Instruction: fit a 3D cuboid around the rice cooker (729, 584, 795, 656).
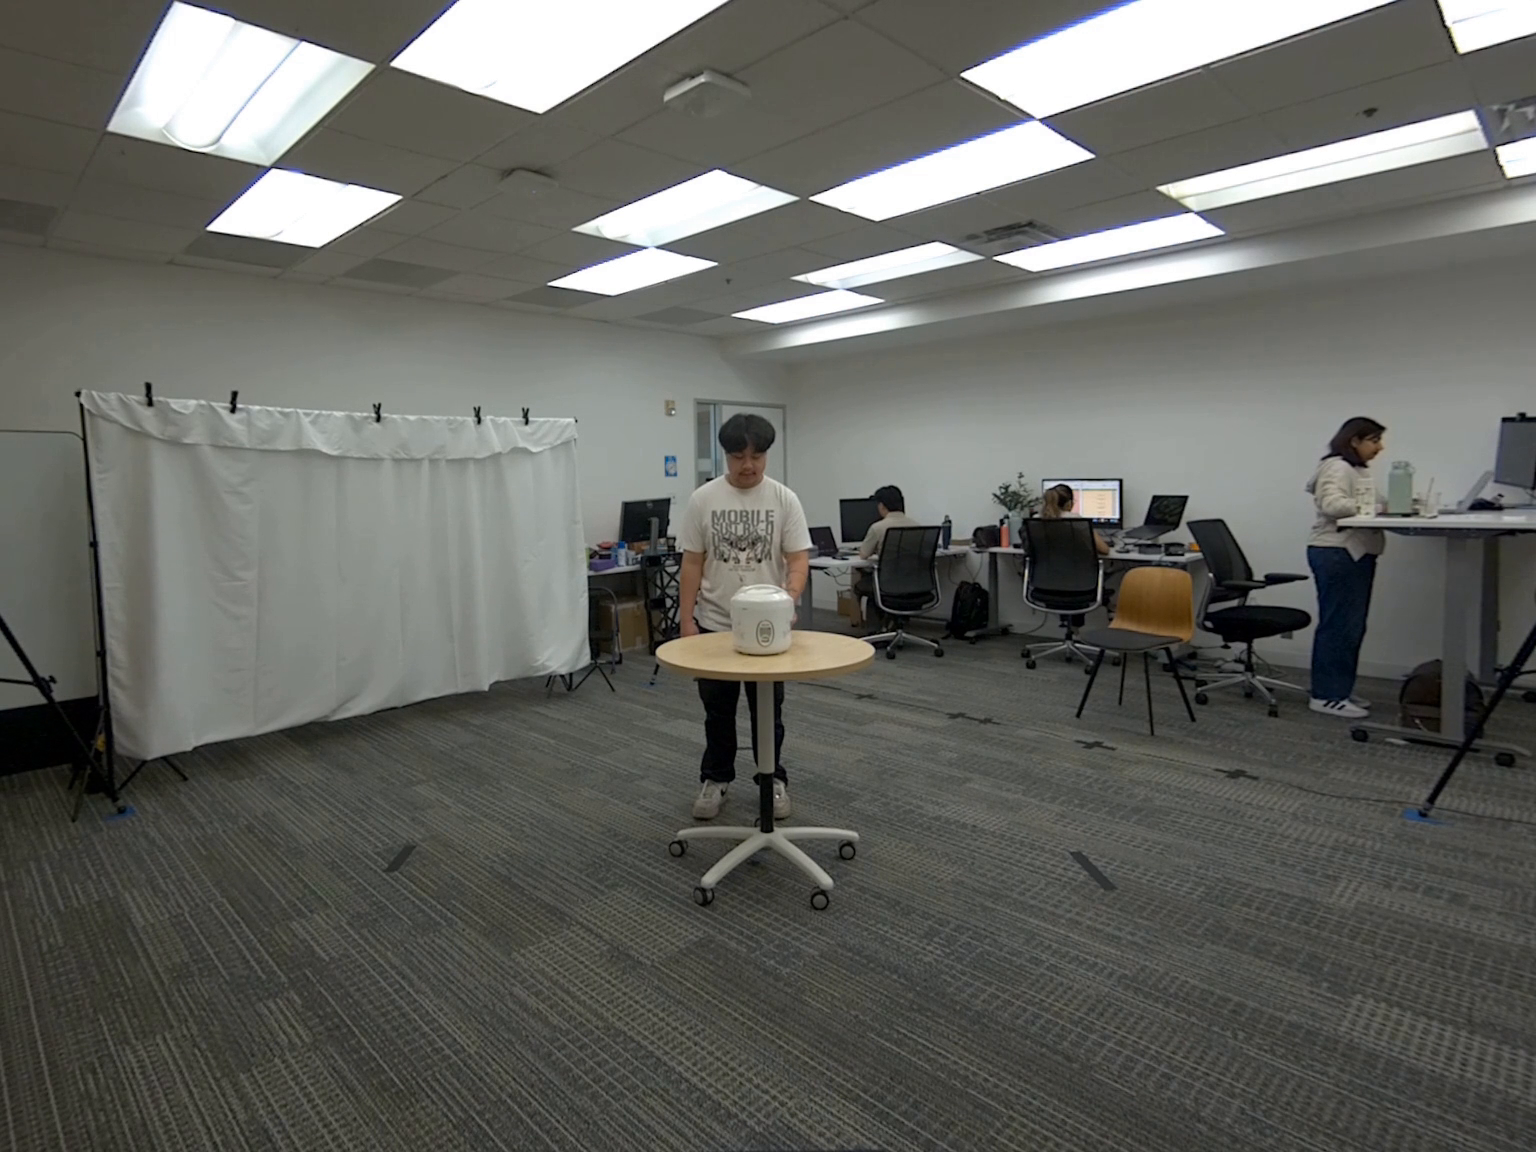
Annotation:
[{"bbox_3d":[-0.022,0.144,2.959,0.220,0.231,0.219,-2,6,-5],"label":"rice cooker"}]
